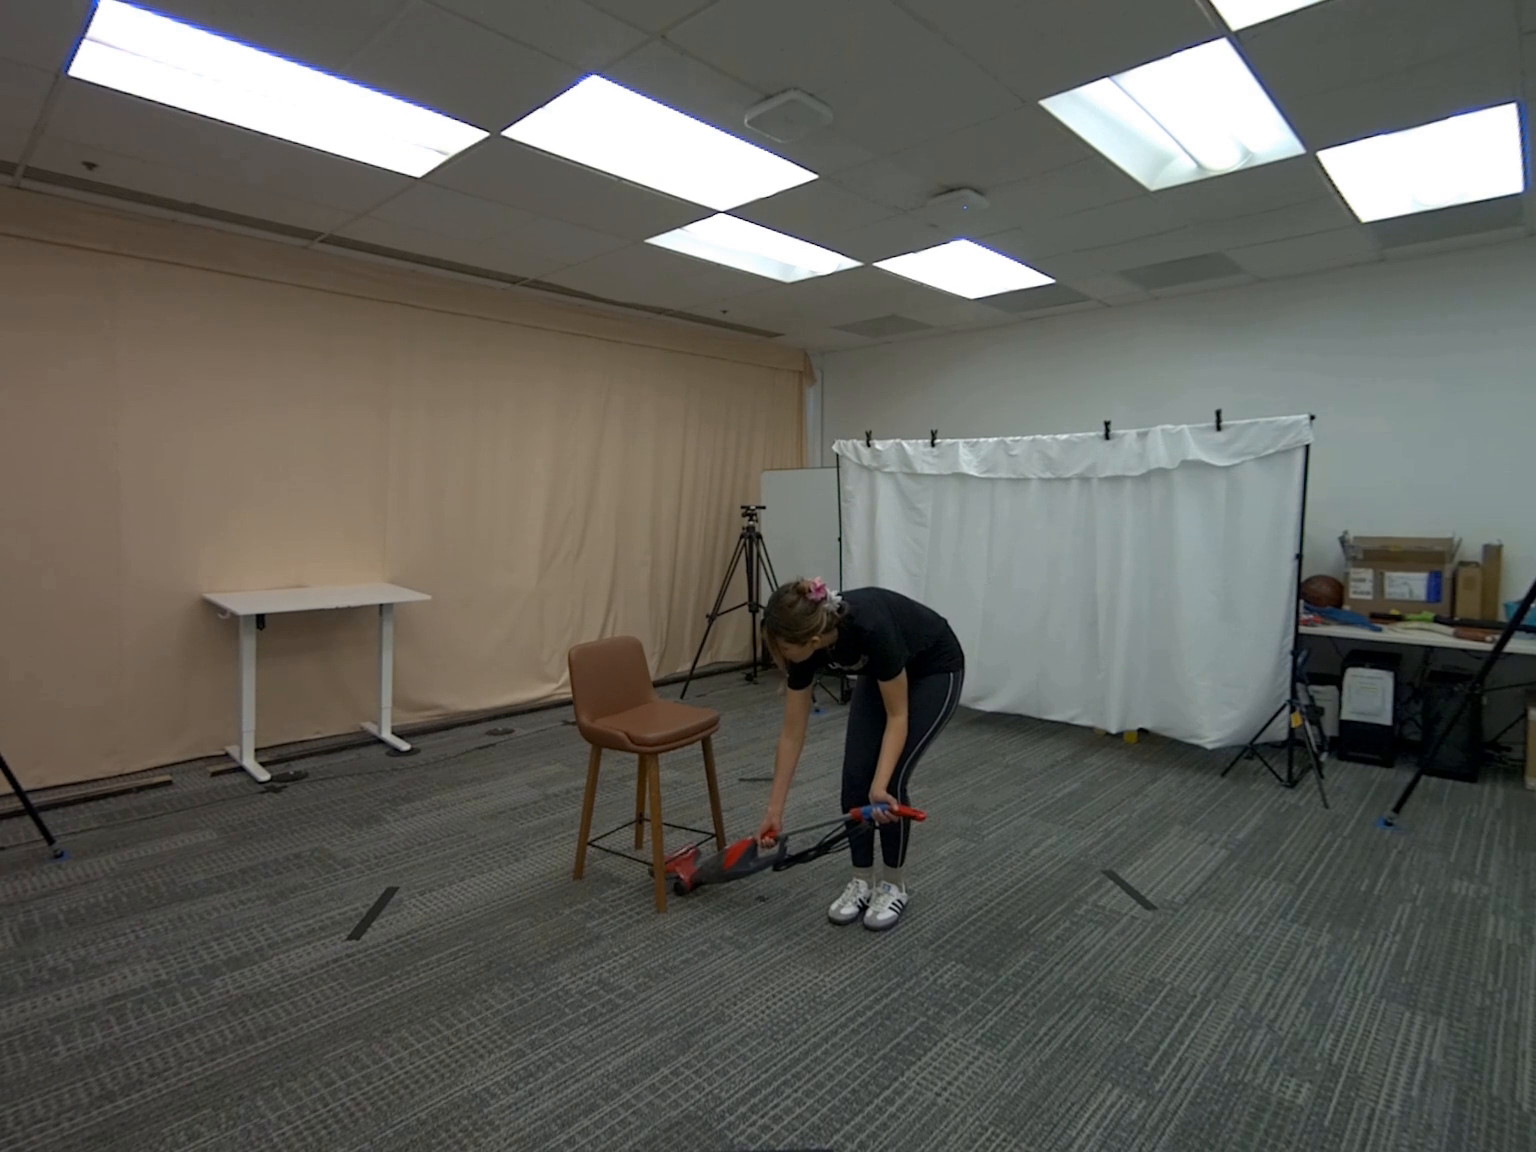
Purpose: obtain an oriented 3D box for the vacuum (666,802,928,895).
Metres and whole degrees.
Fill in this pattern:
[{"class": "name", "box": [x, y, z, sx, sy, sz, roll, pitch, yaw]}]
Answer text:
[{"class": "vacuum", "box": [0.063, 0.898, 2.750, 1.070, 0.145, 0.246, -26, -9, 37]}]
